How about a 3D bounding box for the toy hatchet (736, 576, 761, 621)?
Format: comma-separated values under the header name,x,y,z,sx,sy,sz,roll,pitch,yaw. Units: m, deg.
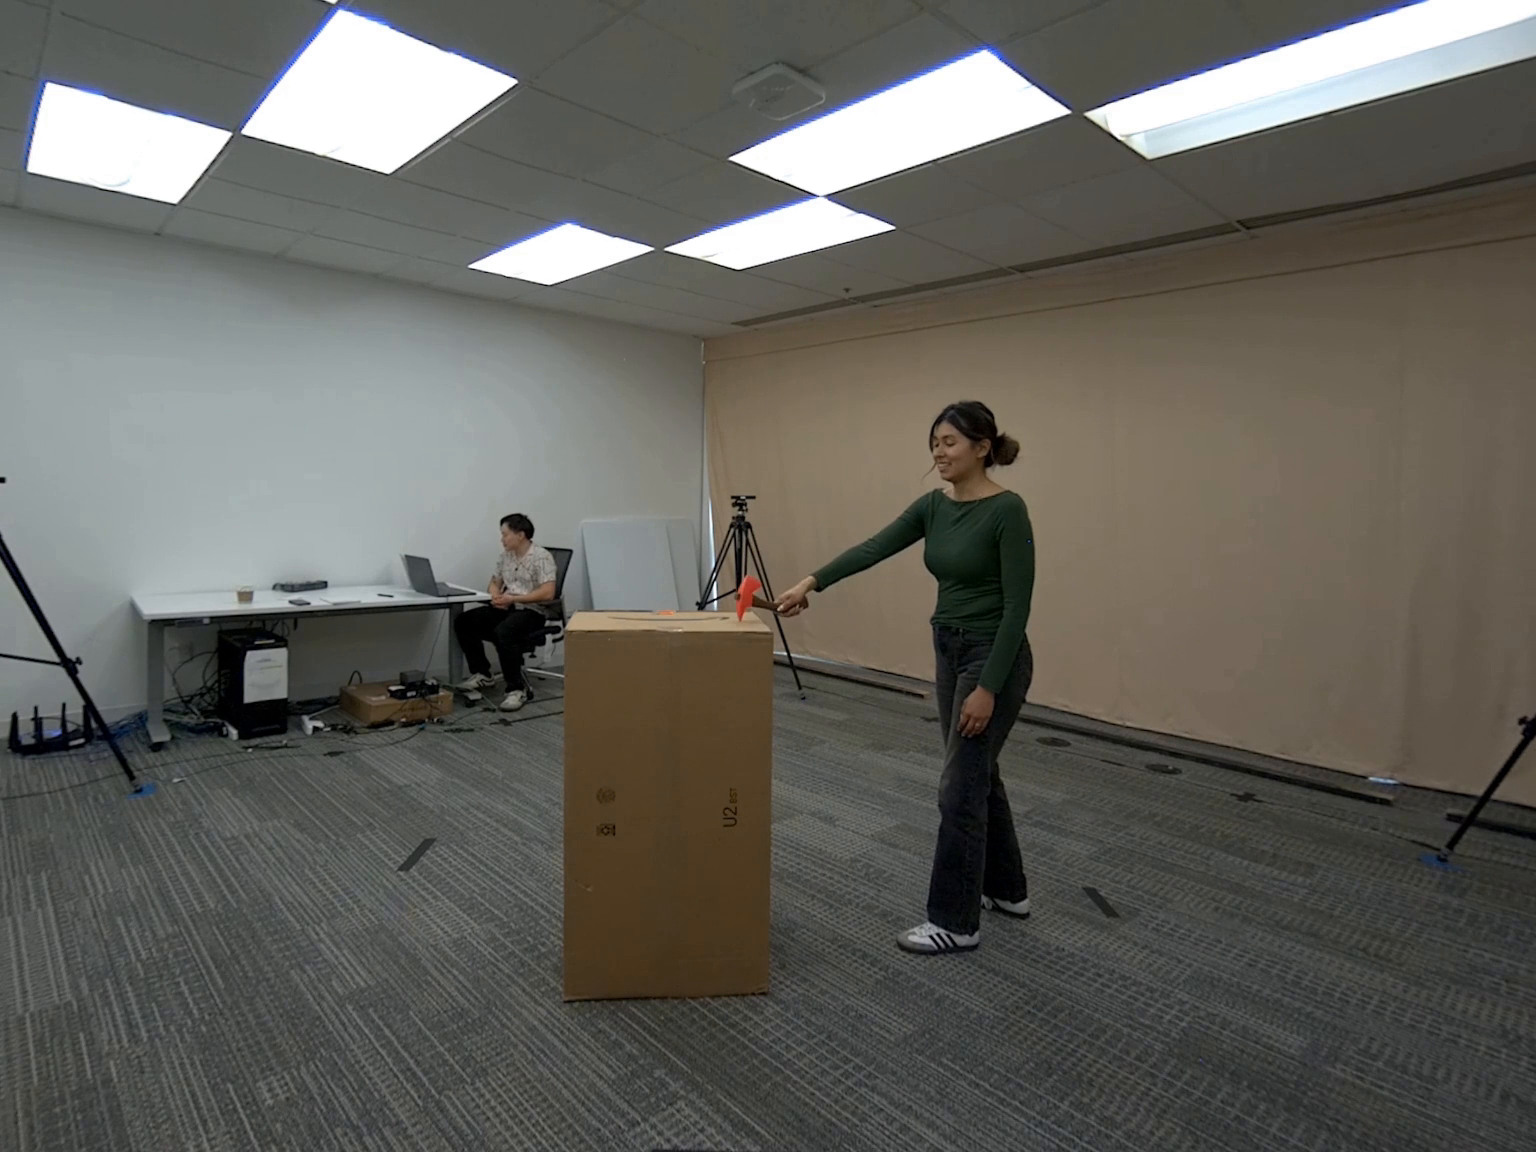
name,x,y,z,sx,sy,sz,roll,pitch,yaw
toy hatchet,0.015,0.045,2.525,0.265,0.131,0.030,-7,0,-31
